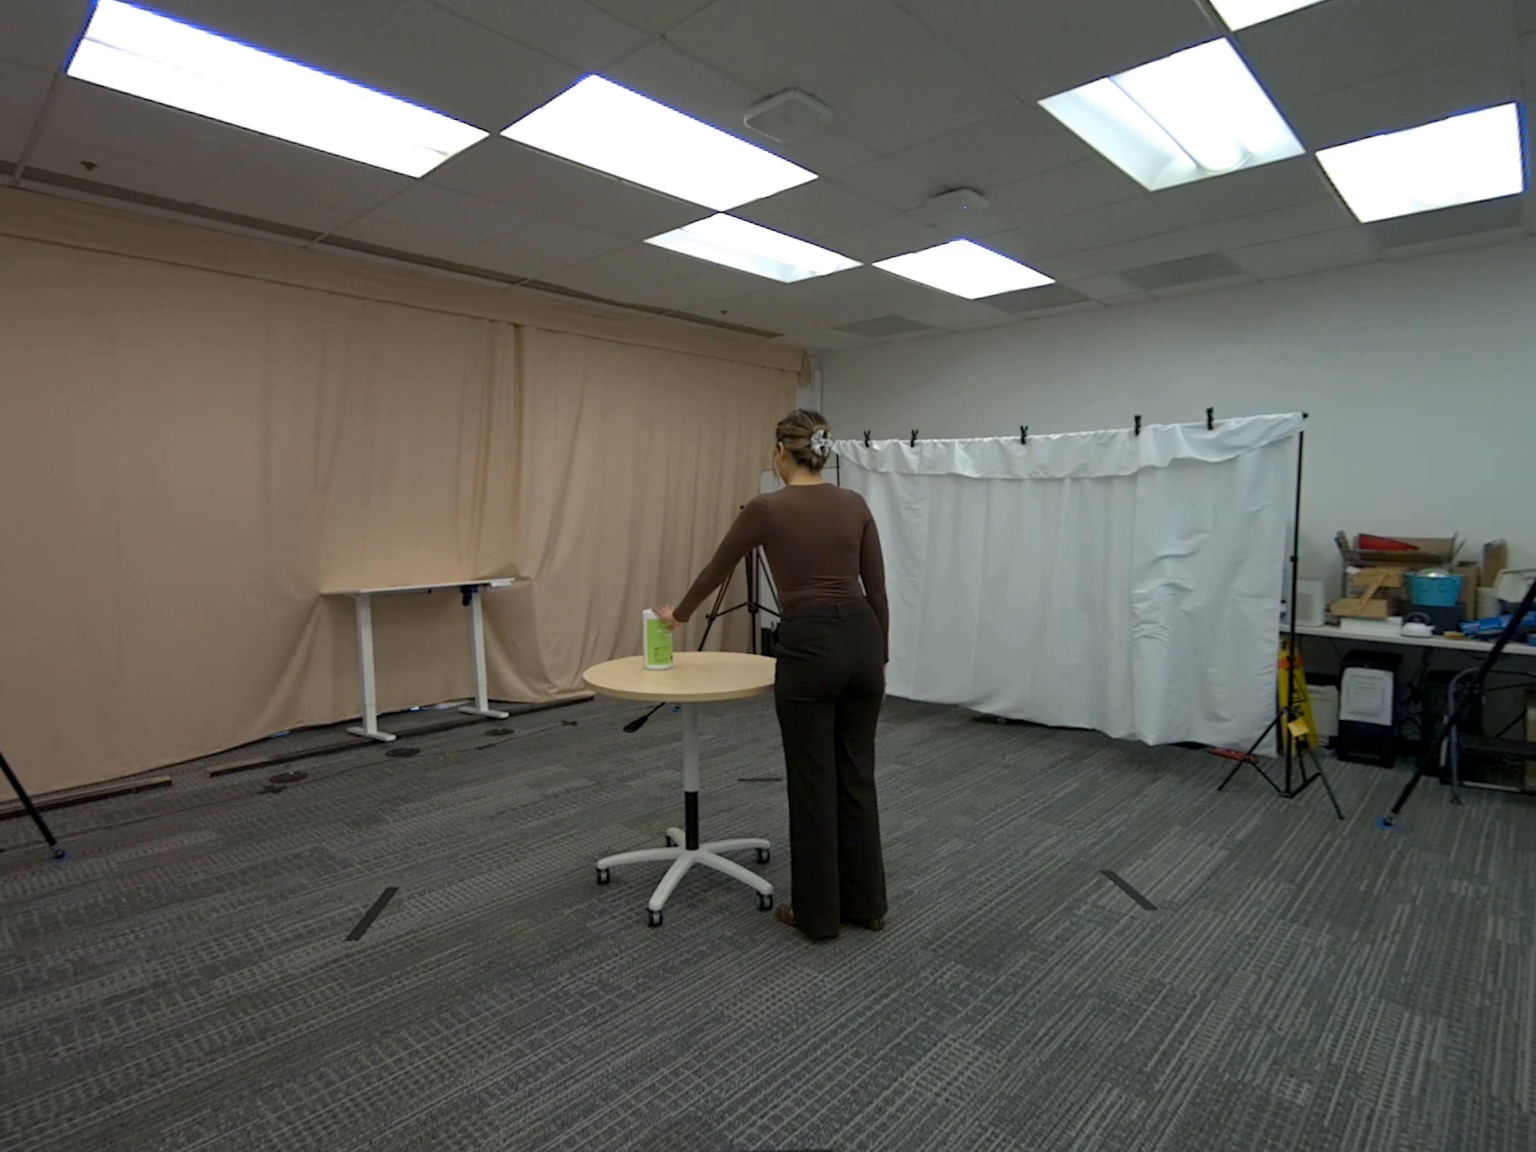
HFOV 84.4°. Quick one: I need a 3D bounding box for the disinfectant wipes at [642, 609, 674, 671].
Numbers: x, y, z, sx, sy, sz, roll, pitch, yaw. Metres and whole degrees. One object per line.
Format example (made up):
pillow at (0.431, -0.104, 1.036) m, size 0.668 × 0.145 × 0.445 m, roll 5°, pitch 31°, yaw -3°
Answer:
disinfectant wipes at (-0.408, 0.232, 3.111) m, size 0.118 × 0.217 × 0.118 m, roll 1°, pitch 4°, yaw -2°
